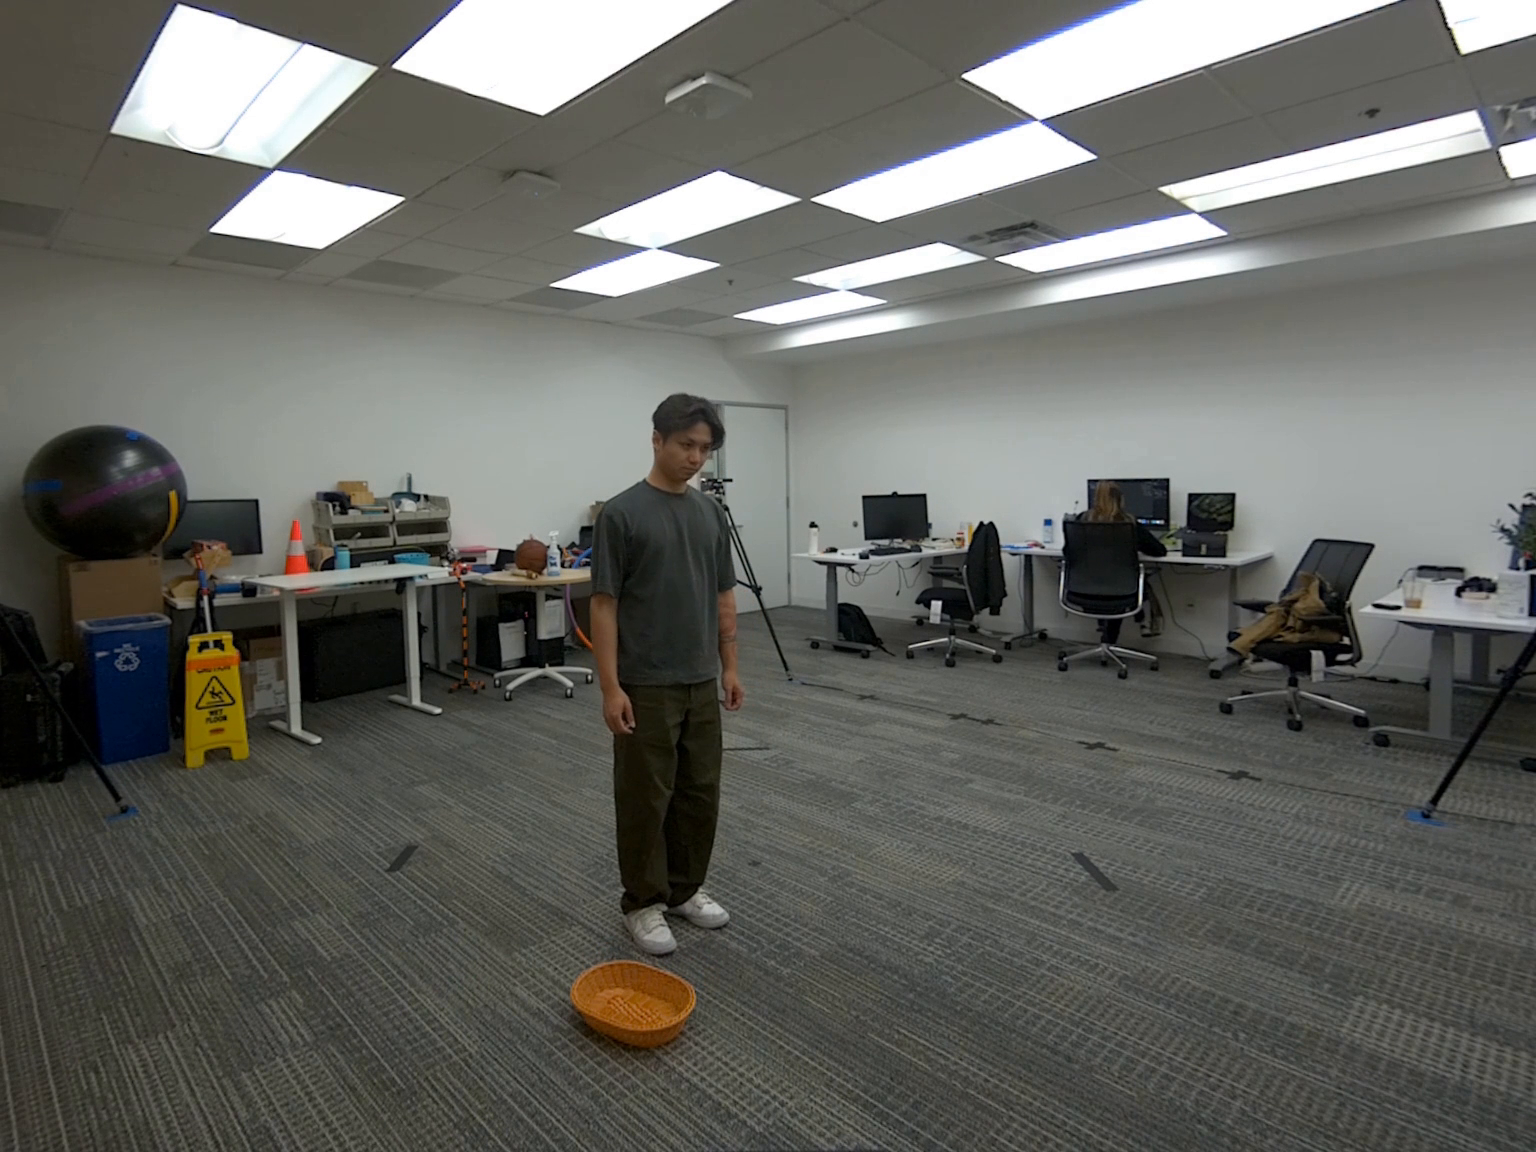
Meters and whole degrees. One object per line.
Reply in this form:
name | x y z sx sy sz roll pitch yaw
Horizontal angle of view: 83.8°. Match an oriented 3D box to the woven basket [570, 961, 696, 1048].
woven basket | -0.353 1.124 2.225 0.360 0.073 0.246 3 8 35
